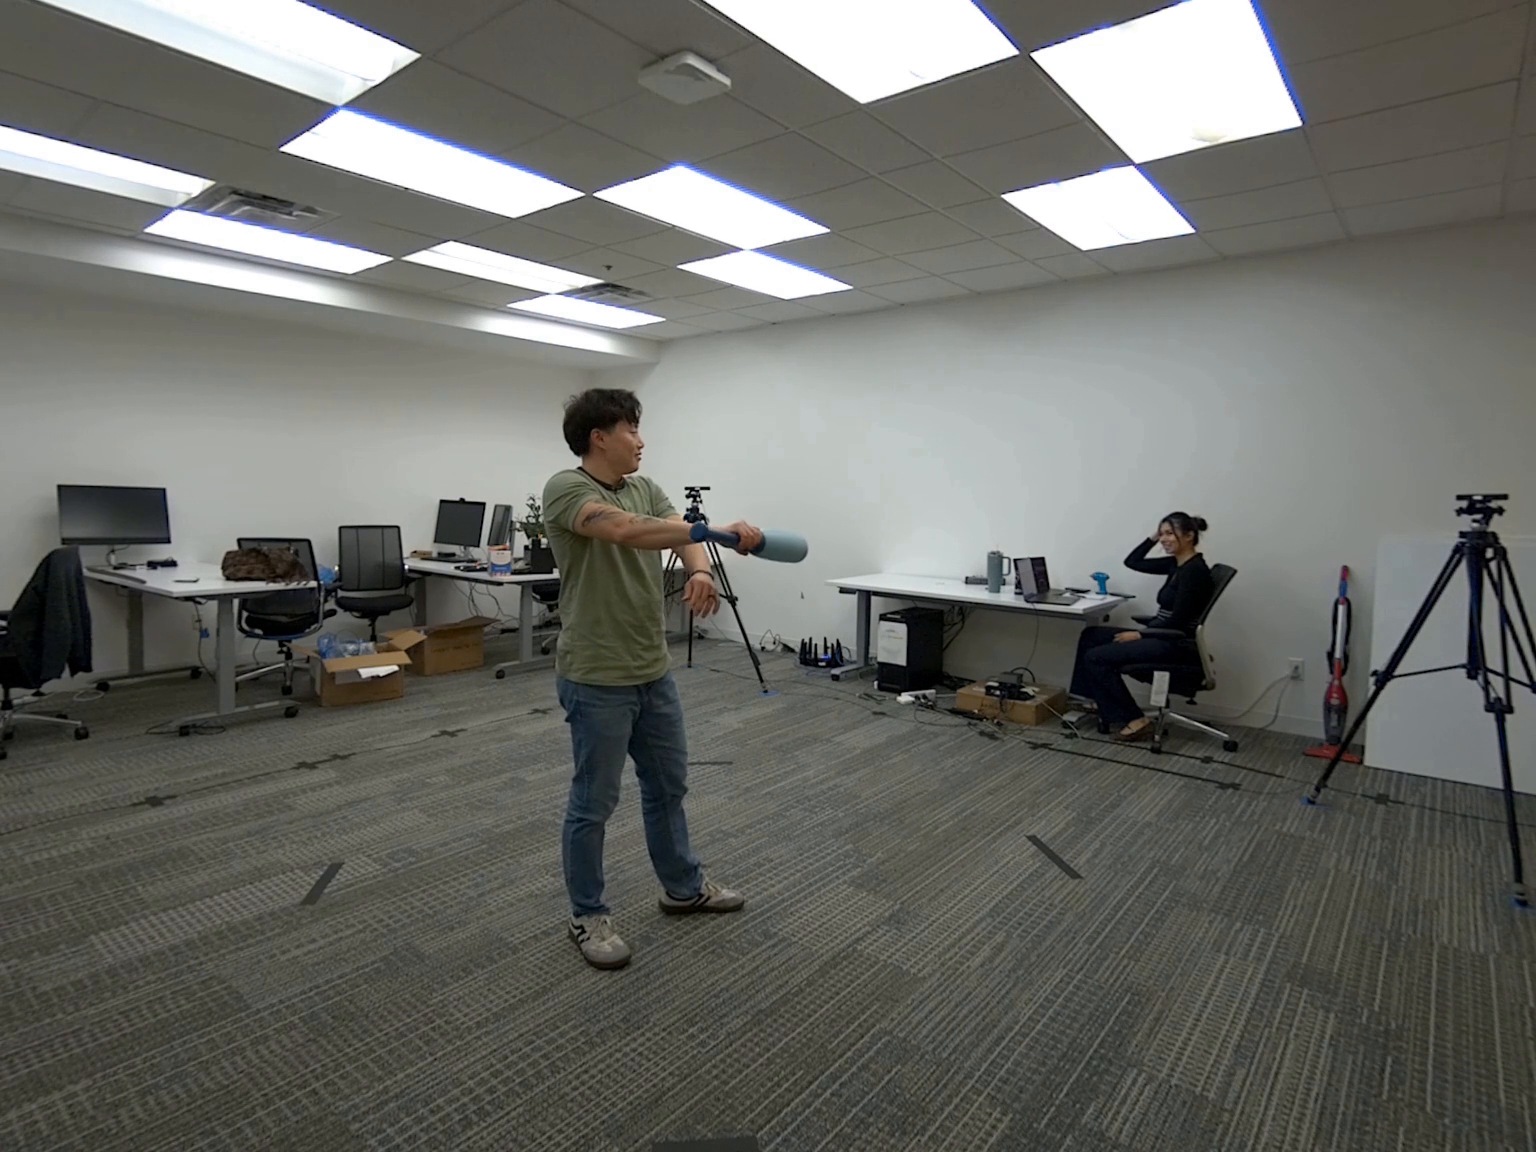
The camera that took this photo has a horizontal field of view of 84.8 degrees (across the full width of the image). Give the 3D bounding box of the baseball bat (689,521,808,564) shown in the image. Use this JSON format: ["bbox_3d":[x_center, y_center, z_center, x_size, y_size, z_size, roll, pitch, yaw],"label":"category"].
[{"bbox_3d":[-0.054,-0.093,2.284,0.091,0.089,0.526,3,-2,28],"label":"baseball bat"}]
